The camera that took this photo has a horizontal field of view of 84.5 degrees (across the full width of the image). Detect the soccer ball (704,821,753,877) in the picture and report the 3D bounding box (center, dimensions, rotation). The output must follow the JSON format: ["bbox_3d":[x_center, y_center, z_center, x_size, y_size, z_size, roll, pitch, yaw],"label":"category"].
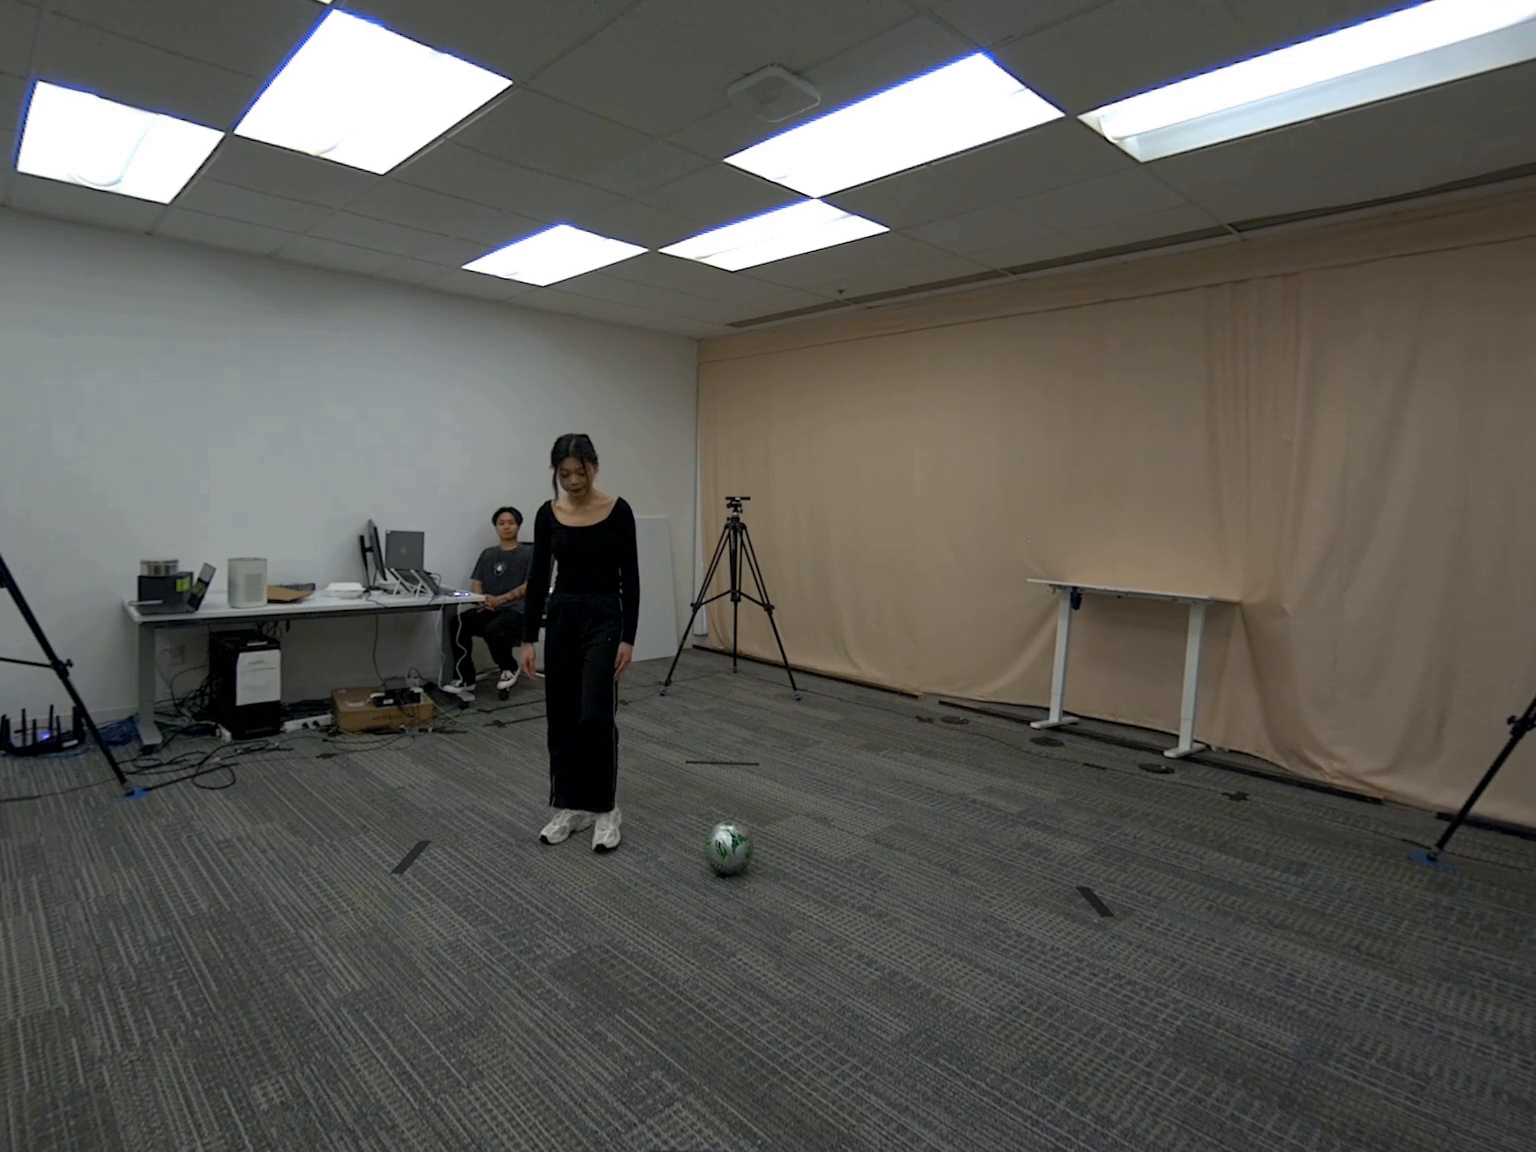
[{"bbox_3d":[-0.151,1.009,3.129,0.187,0.187,0.188,1,4,-1],"label":"soccer ball"}]
